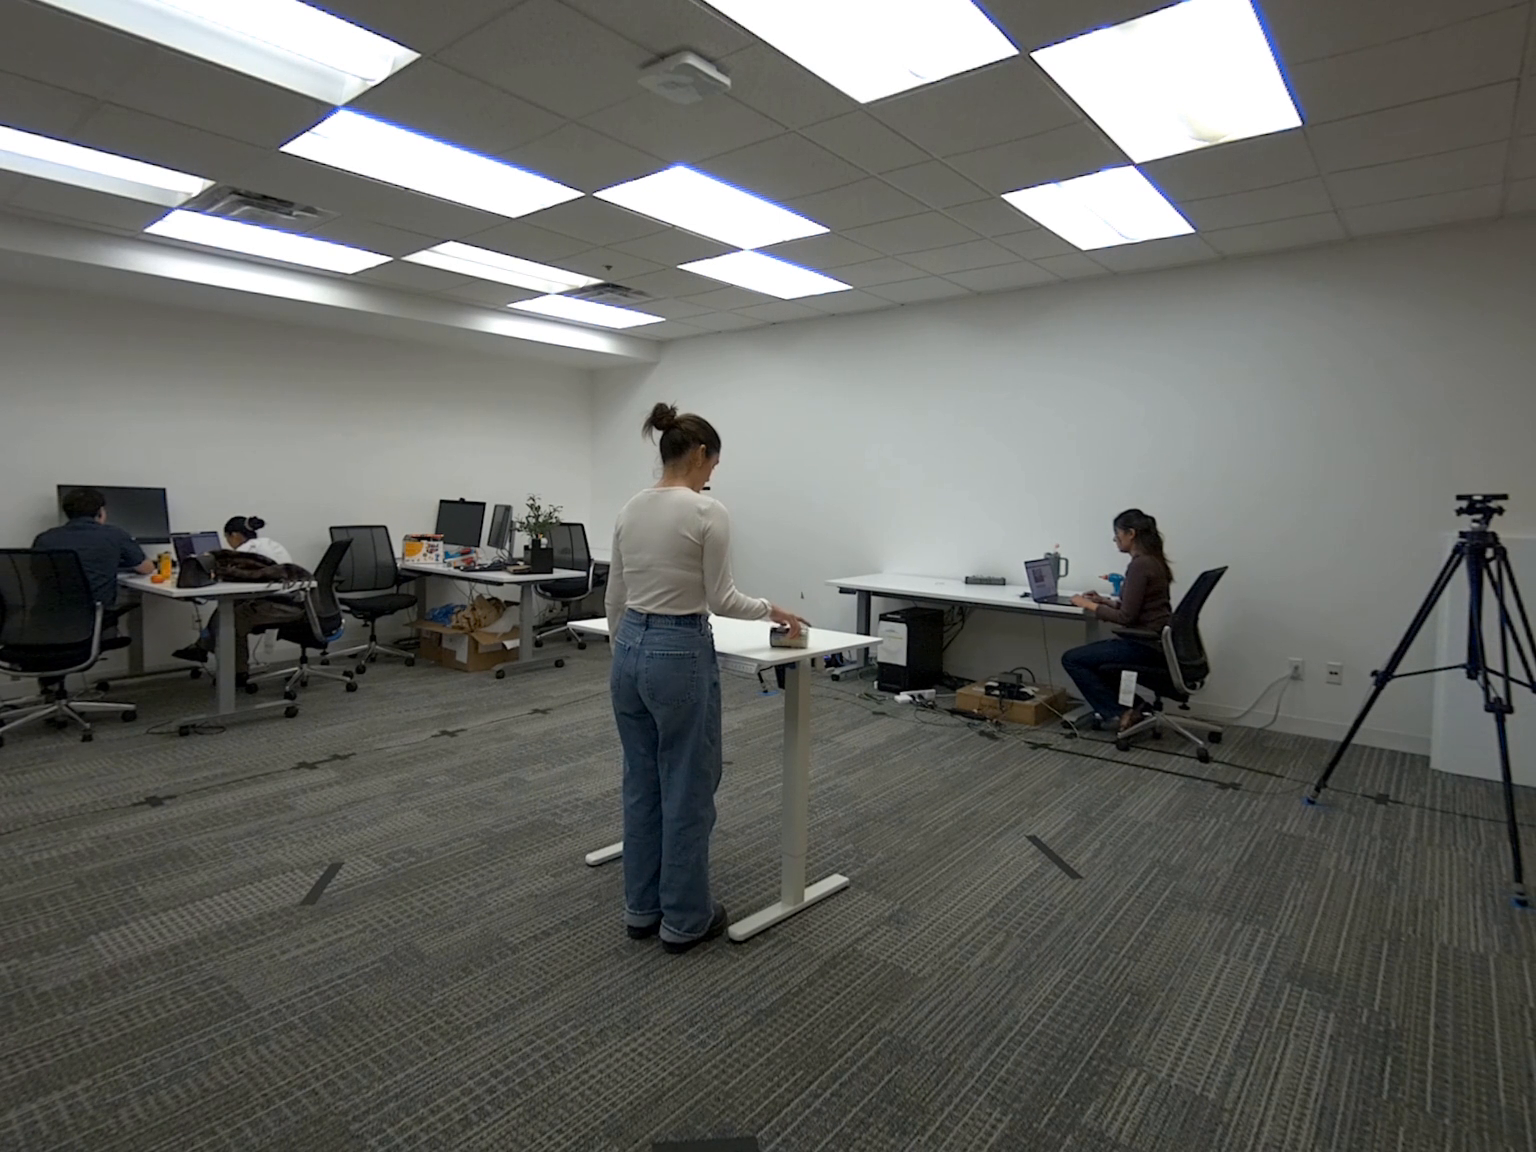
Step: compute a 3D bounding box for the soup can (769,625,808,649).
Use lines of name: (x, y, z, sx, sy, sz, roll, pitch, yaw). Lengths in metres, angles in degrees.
soup can: (0.061, 0.192, 2.697, 0.122, 0.067, 0.067, 1, 4, 5)
